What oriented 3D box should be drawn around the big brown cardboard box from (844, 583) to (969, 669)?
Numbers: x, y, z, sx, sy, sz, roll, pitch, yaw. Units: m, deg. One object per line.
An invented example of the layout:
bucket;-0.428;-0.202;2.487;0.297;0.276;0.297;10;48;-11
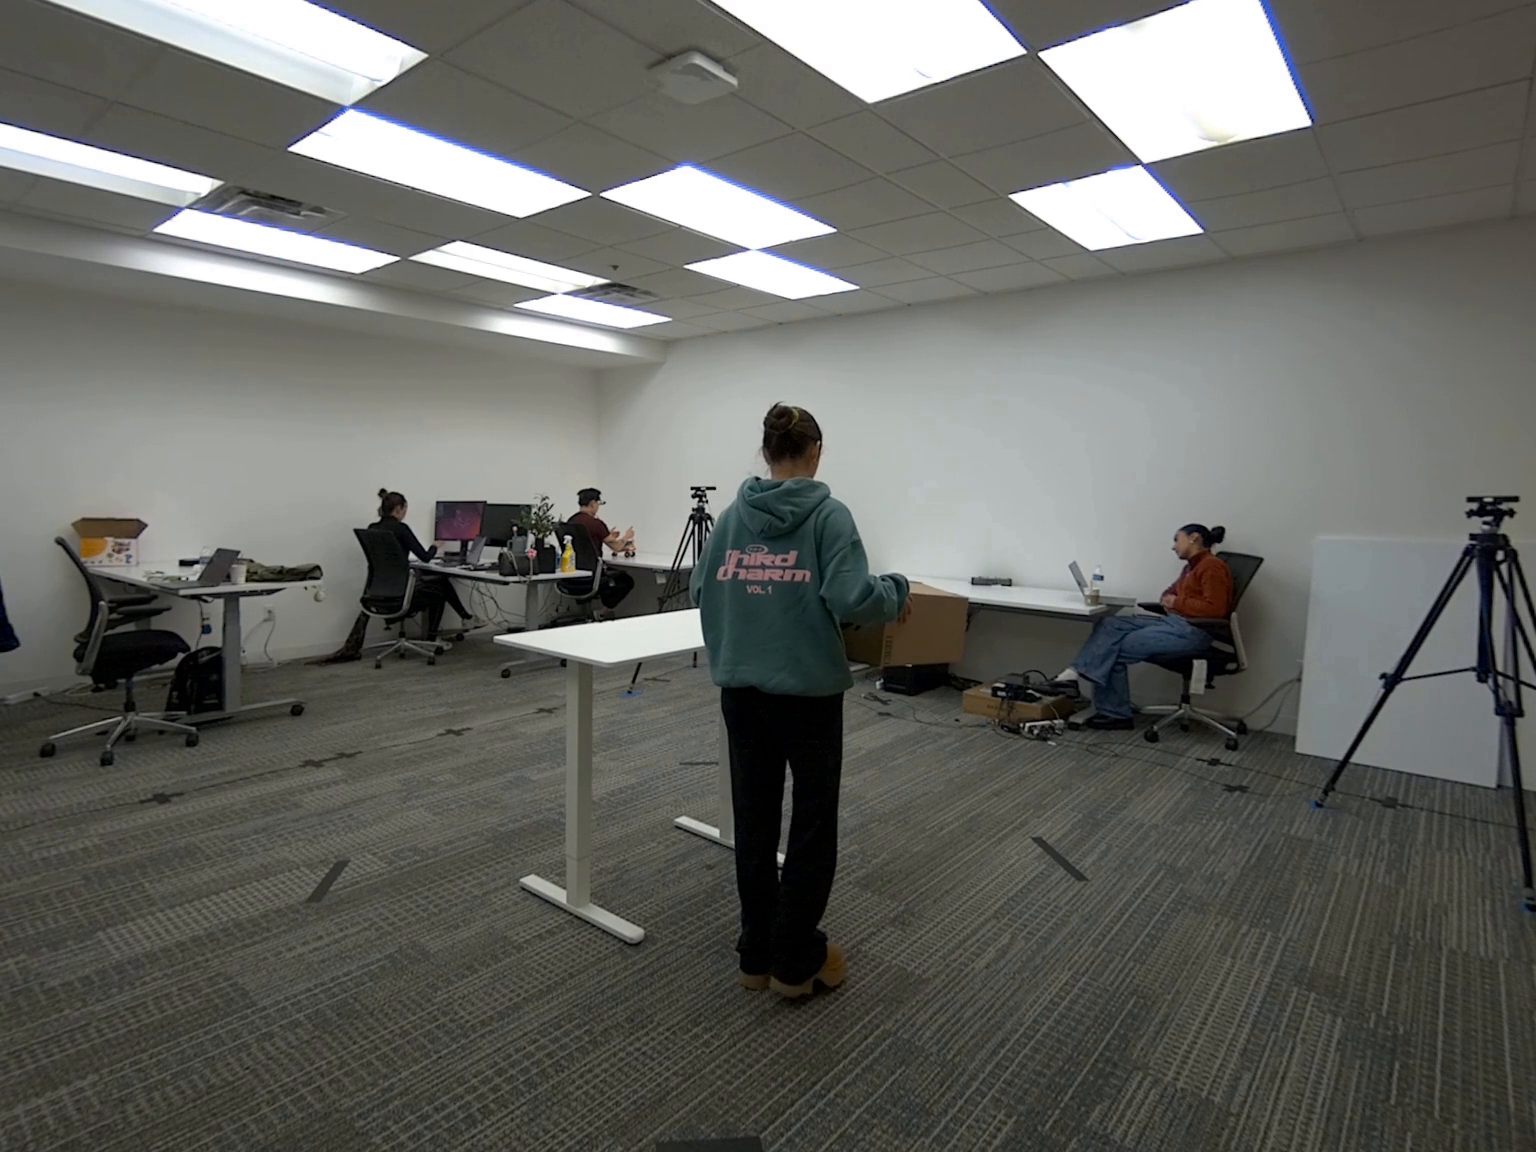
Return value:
big brown cardboard box;0.319;0.131;2.716;0.432;0.233;0.570;7;2;36
